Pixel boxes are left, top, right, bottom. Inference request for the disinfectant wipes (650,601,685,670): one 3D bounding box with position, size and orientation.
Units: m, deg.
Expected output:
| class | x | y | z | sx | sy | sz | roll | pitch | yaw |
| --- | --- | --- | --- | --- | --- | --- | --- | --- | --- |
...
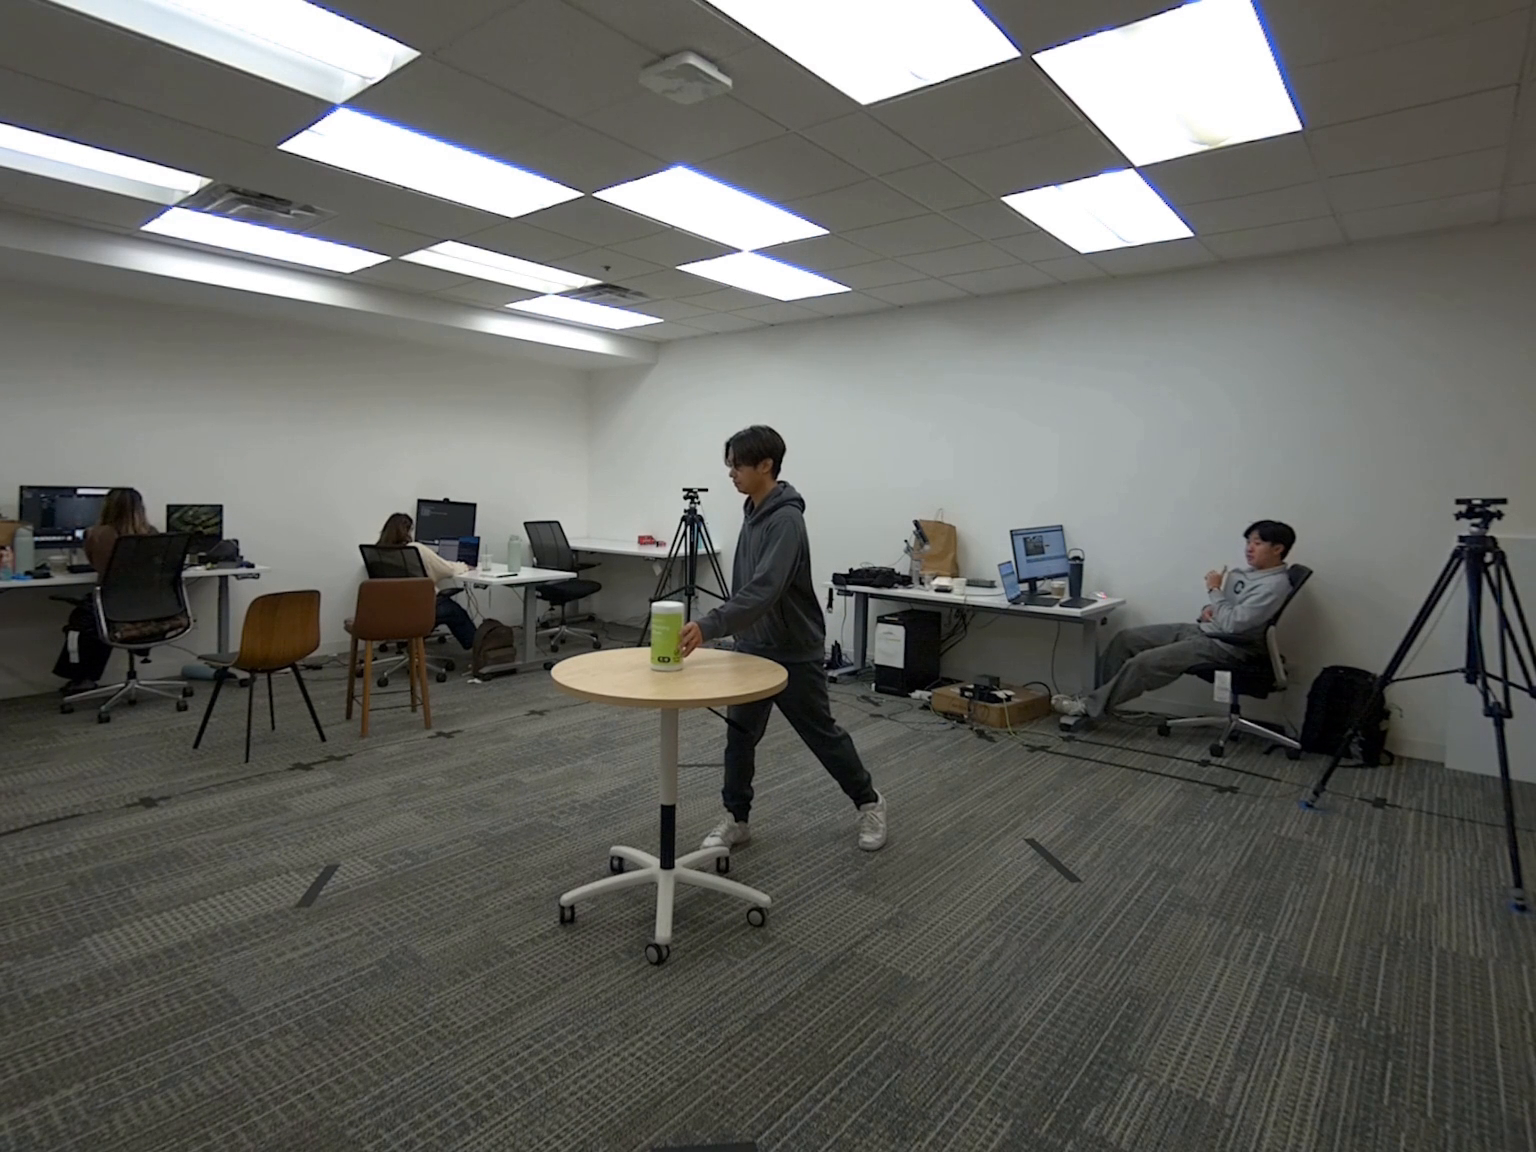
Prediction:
| class | x | y | z | sx | sy | sz | roll | pitch | yaw |
| --- | --- | --- | --- | --- | --- | --- | --- | --- | --- |
| disinfectant wipes | -0.336 | 0.194 | 2.788 | 0.118 | 0.216 | 0.118 | 0 | 5 | -2 |
